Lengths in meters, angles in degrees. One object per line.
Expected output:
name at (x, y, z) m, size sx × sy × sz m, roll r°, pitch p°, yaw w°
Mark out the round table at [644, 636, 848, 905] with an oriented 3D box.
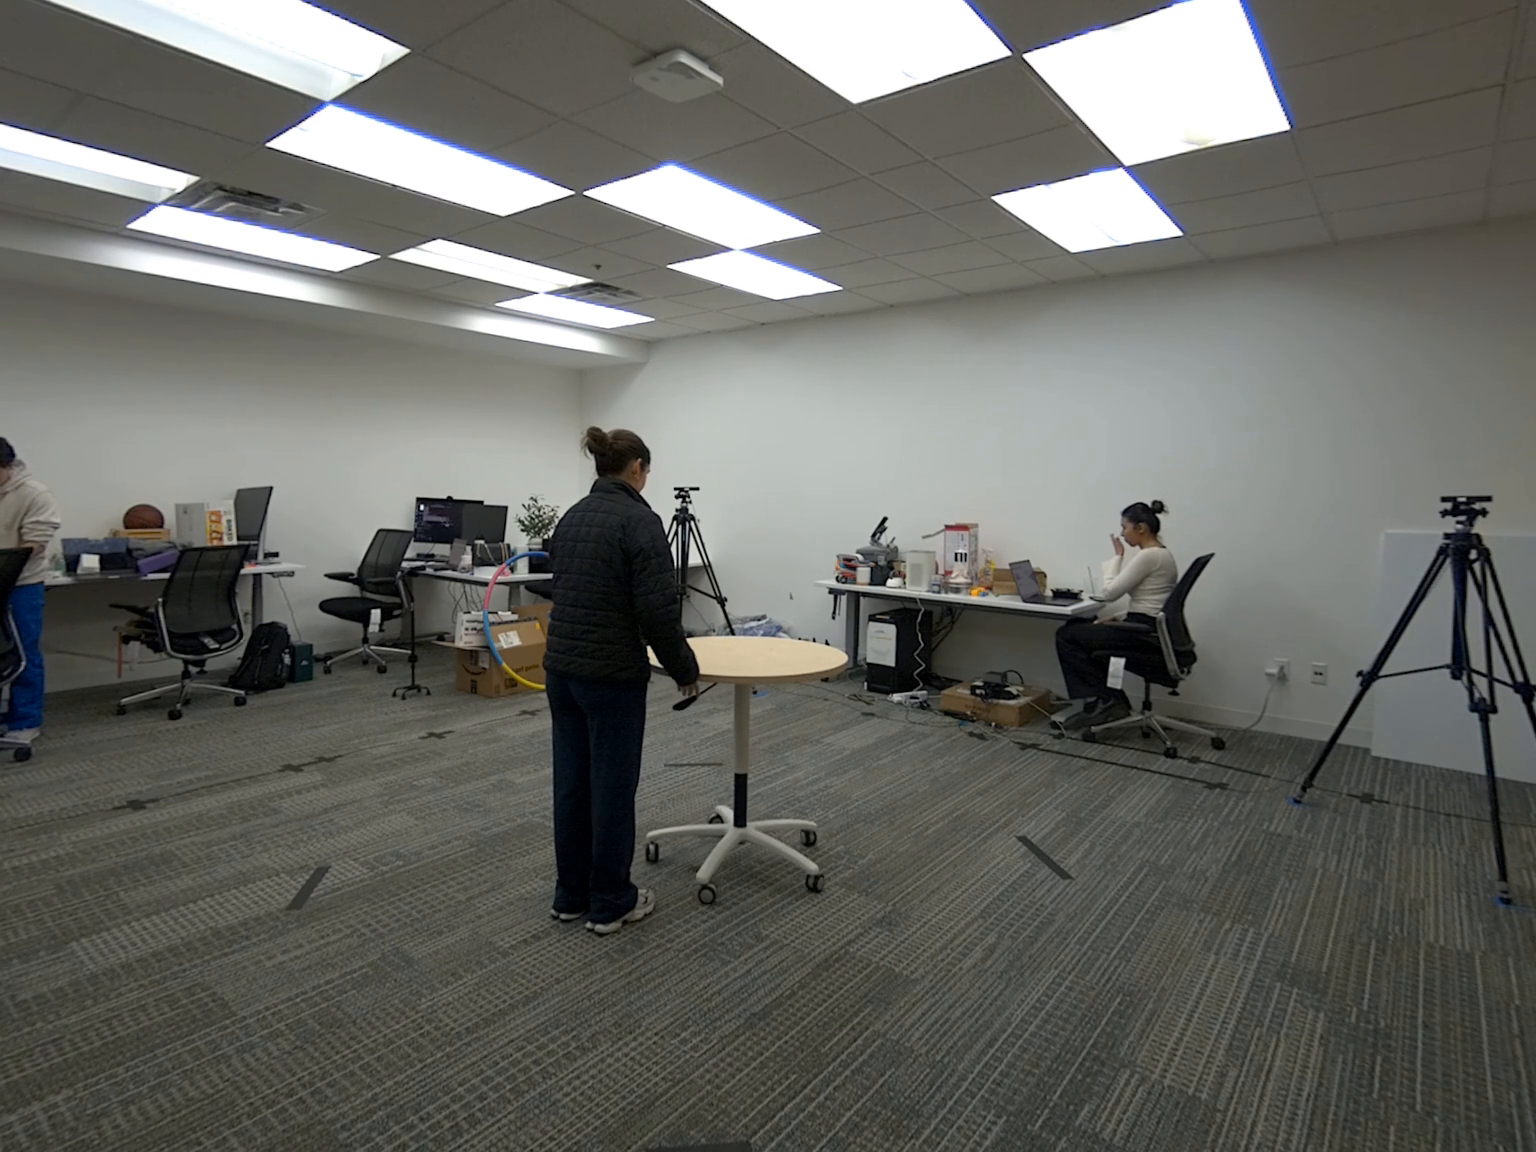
round table at (-0.097, 0.669, 3.161) m, size 0.784 × 0.784 × 0.789 m, roll 1°, pitch 4°, yaw -2°
